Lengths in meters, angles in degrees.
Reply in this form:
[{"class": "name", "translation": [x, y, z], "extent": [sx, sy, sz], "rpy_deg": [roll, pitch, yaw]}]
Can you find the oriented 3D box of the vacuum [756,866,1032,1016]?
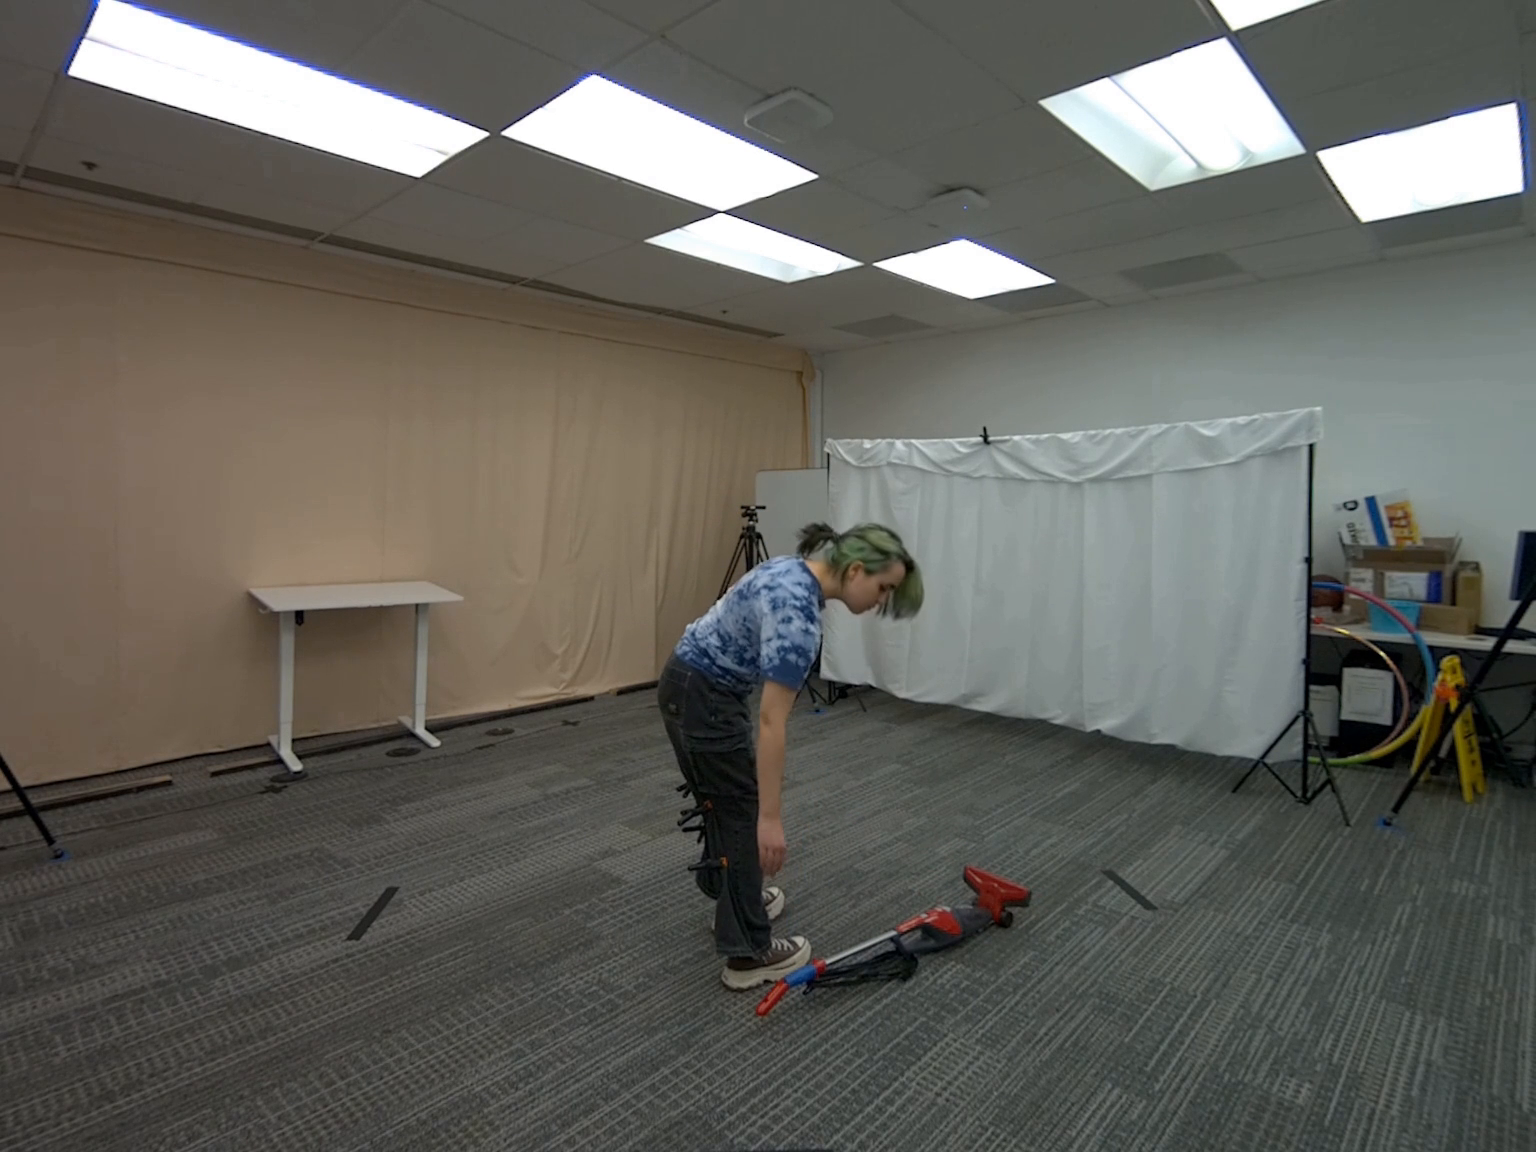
[{"class": "vacuum", "translation": [0.381, 1.120, 2.524], "extent": [1.019, 0.144, 0.260], "rpy_deg": [-6, 5, -38]}]
